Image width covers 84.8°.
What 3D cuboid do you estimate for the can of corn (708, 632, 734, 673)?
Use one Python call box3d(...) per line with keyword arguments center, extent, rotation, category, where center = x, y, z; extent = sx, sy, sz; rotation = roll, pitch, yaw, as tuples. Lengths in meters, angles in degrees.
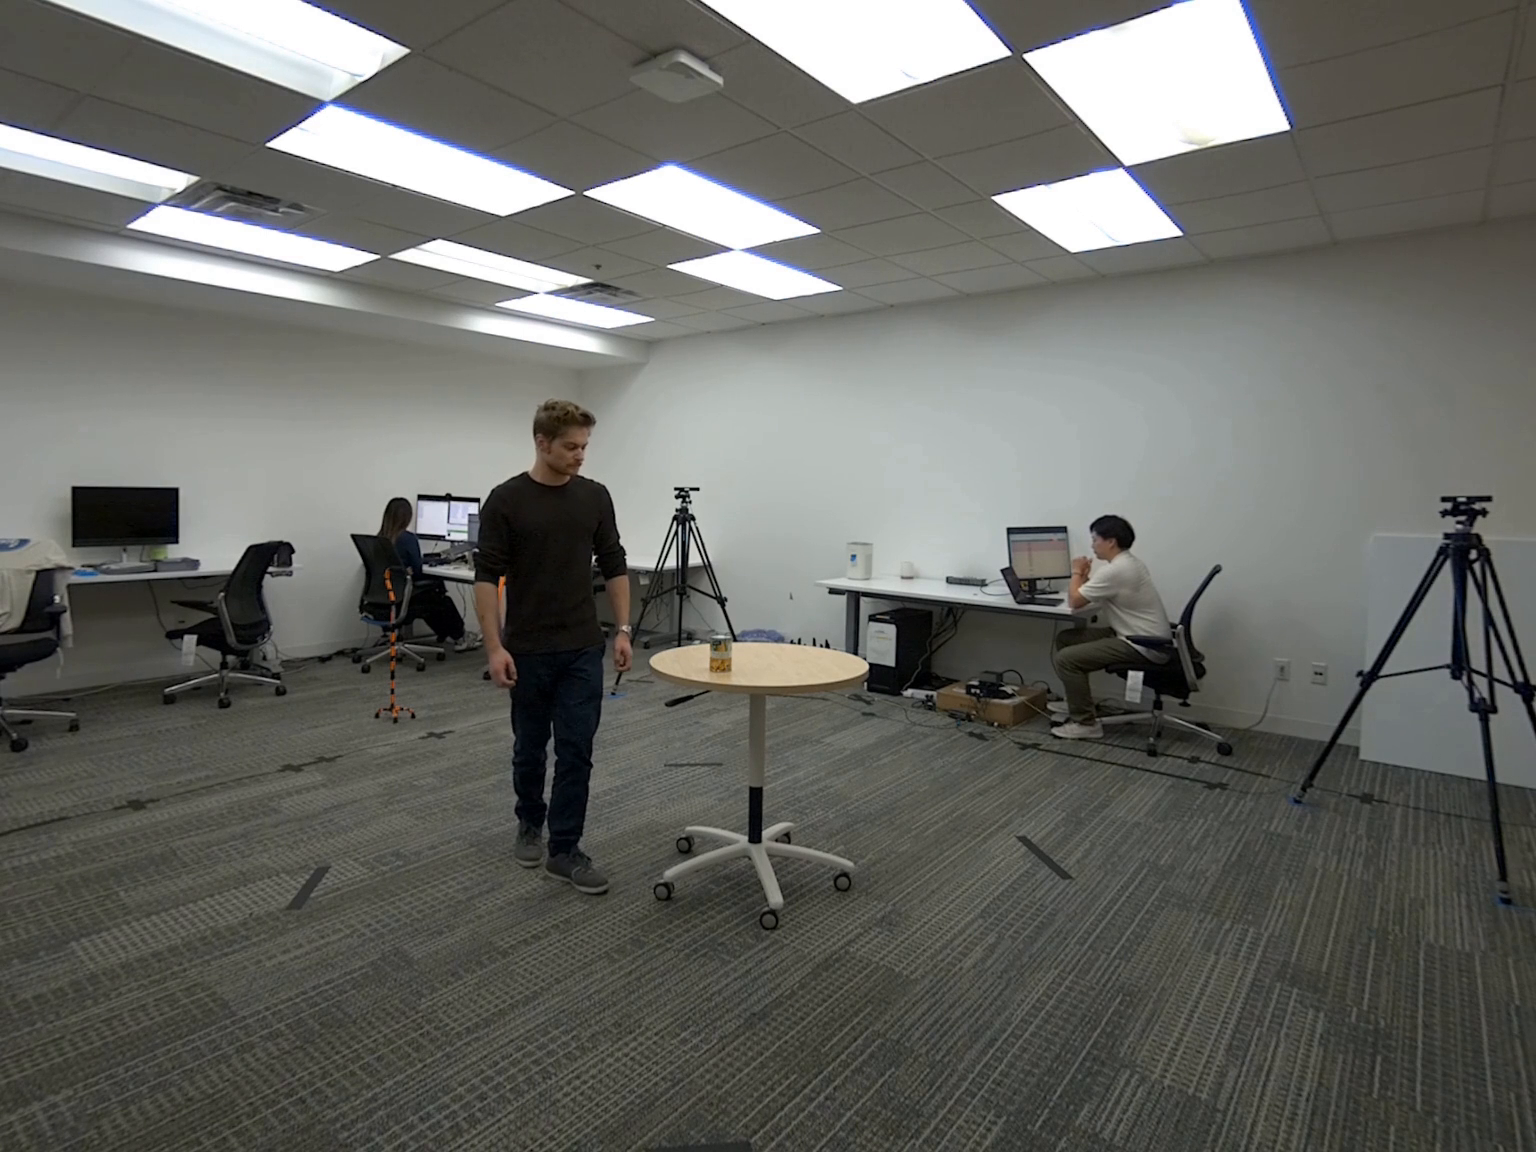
box3d(center=(-0.165, 0.255, 2.824), extent=(0.074, 0.111, 0.074), rotation=(0, 1, -2), category="can of corn")
